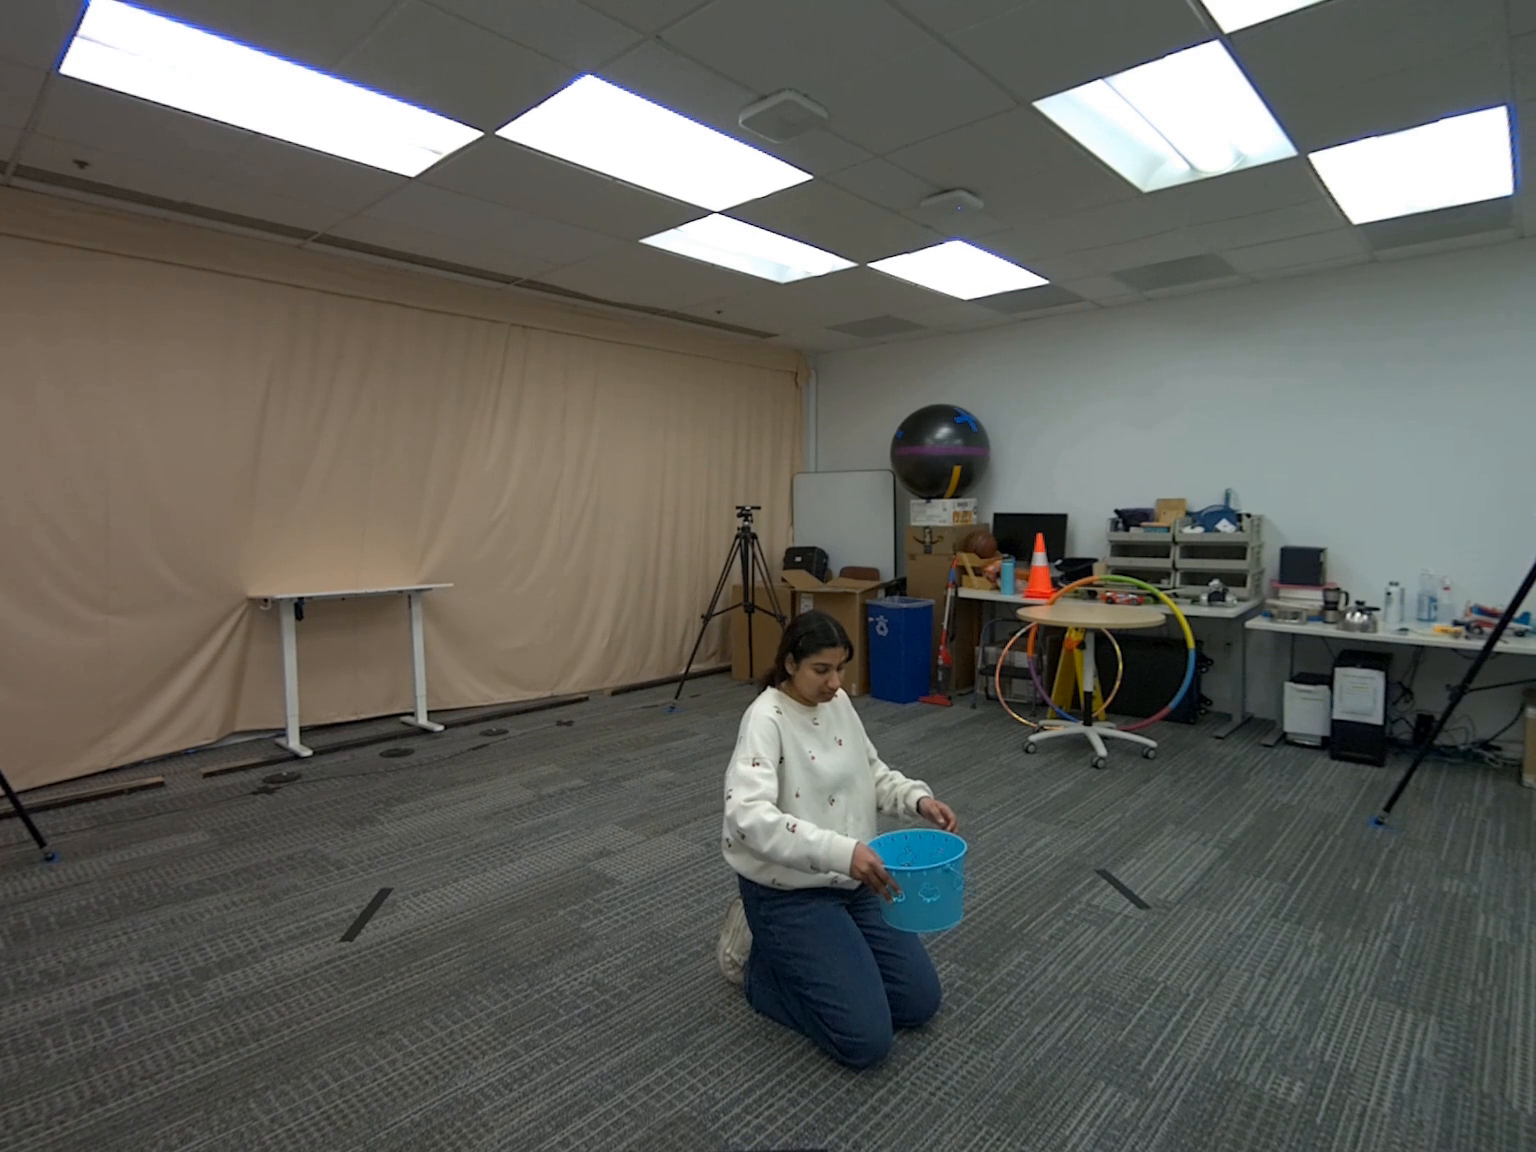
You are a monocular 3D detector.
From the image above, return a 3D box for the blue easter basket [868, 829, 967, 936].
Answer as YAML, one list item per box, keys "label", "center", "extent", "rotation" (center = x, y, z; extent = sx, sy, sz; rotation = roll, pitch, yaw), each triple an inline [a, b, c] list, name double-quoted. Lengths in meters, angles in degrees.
- label: "blue easter basket"
  center: [0.326, 0.695, 1.917]
  extent: [0.243, 0.155, 0.244]
  rotation: [-7, 3, -2]
